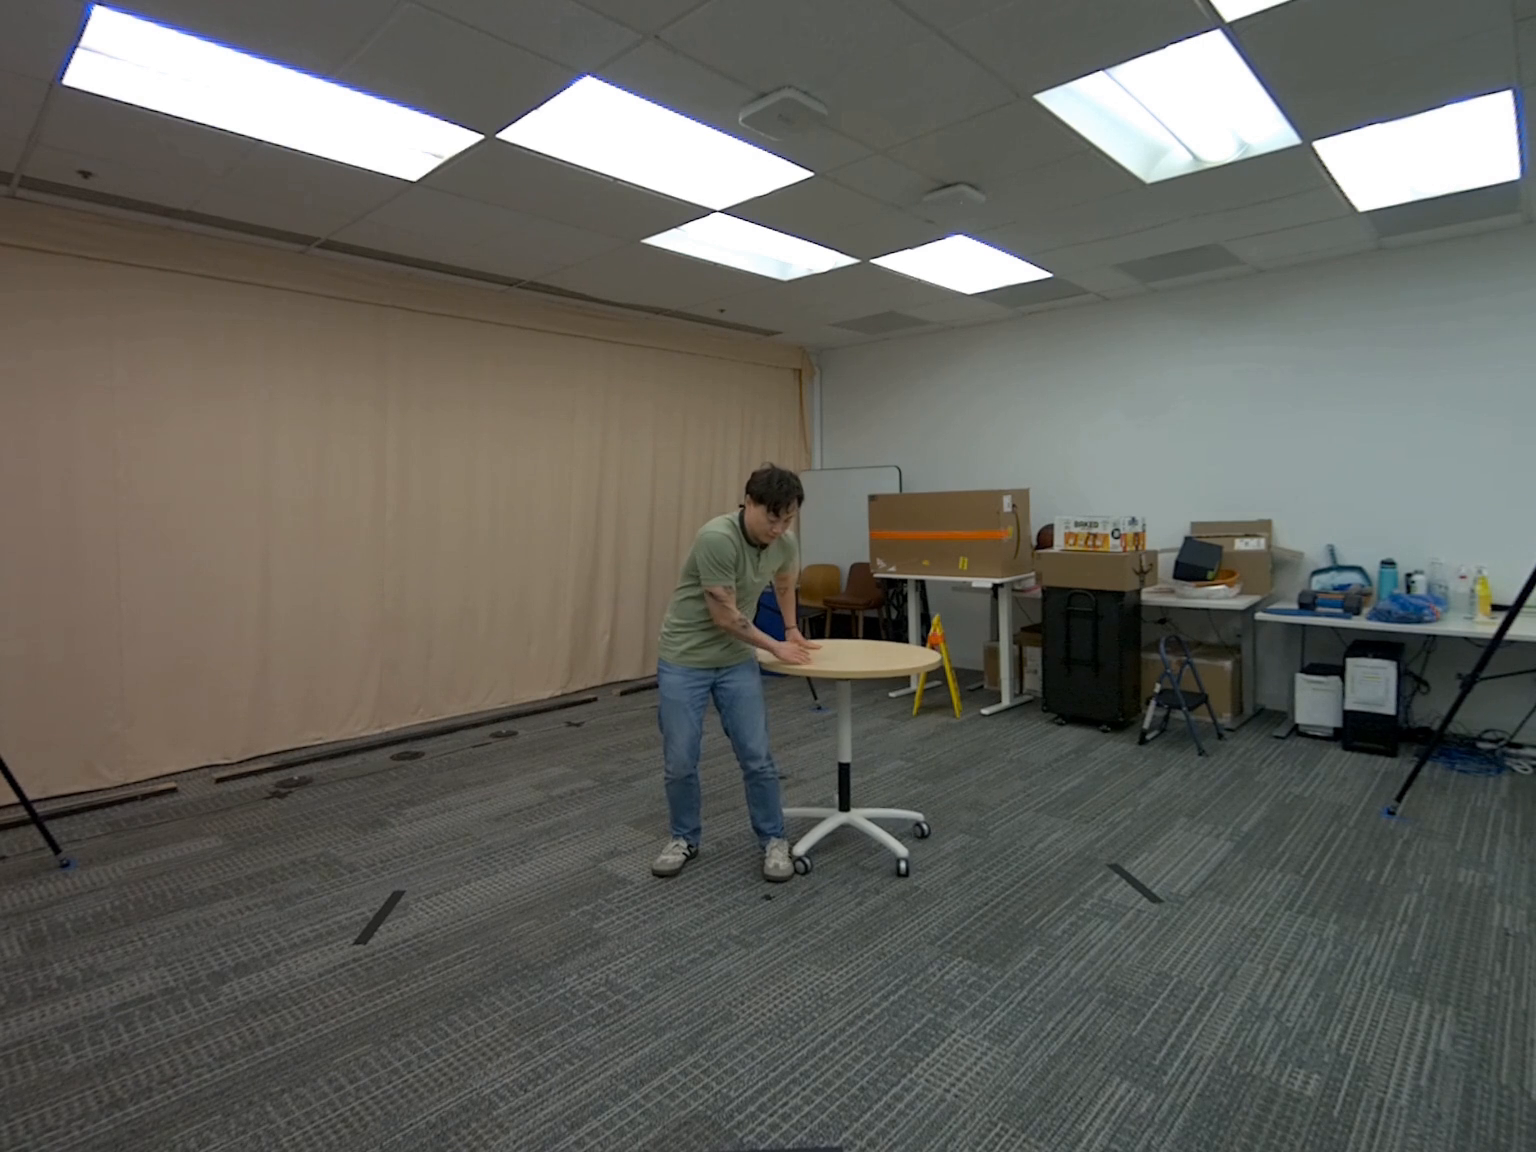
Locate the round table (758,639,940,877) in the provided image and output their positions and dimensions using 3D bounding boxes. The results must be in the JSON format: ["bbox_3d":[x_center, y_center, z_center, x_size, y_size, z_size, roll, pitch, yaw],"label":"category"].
[{"bbox_3d":[0.317,0.708,3.420,0.763,0.792,0.766,0,3,-2],"label":"round table"}]
